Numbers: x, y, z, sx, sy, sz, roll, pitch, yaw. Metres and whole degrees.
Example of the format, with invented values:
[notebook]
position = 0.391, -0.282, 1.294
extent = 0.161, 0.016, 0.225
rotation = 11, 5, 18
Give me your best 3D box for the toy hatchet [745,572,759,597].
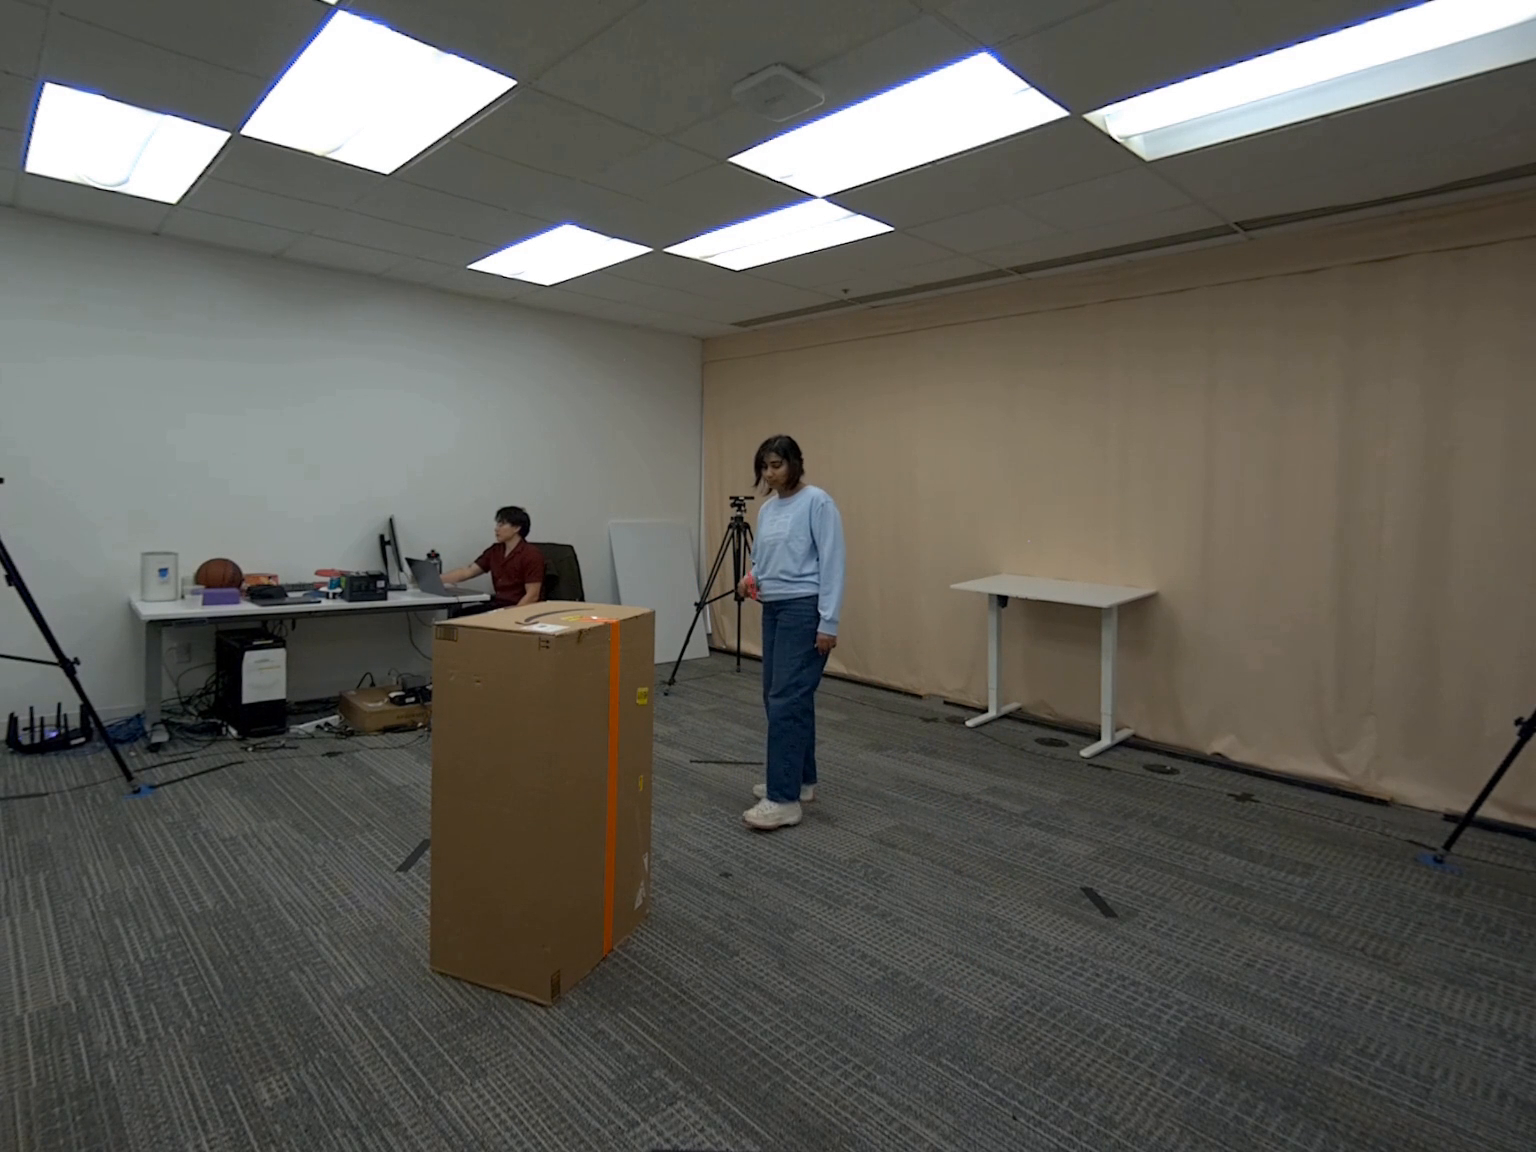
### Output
[toy hatchet]
position = -0.085, 0.065, 3.721
extent = 0.029, 0.133, 0.267
rotation = -10, -16, -7
